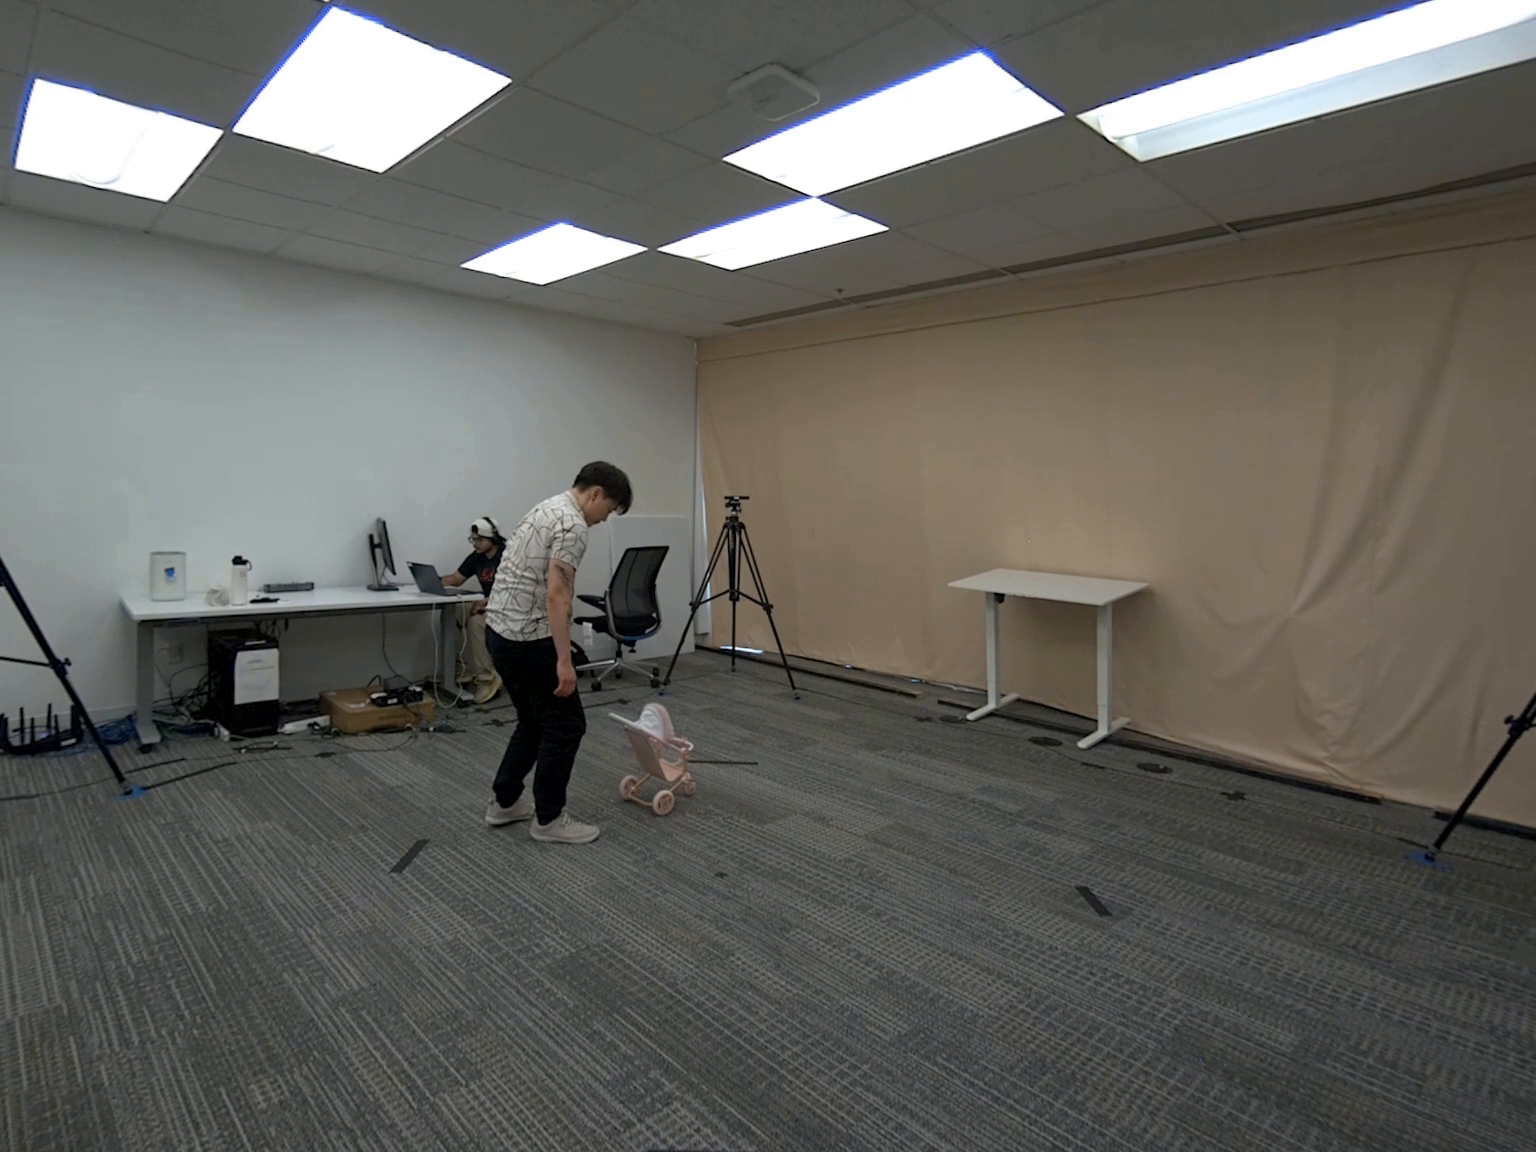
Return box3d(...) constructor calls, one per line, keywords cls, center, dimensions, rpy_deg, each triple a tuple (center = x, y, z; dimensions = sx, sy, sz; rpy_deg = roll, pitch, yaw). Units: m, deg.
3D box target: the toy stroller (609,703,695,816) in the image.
box3d(cls="toy stroller", center=(-0.505, 0.808, 3.801), dimensions=(0.336, 0.529, 0.289), rpy_deg=(-21, 18, -37))
